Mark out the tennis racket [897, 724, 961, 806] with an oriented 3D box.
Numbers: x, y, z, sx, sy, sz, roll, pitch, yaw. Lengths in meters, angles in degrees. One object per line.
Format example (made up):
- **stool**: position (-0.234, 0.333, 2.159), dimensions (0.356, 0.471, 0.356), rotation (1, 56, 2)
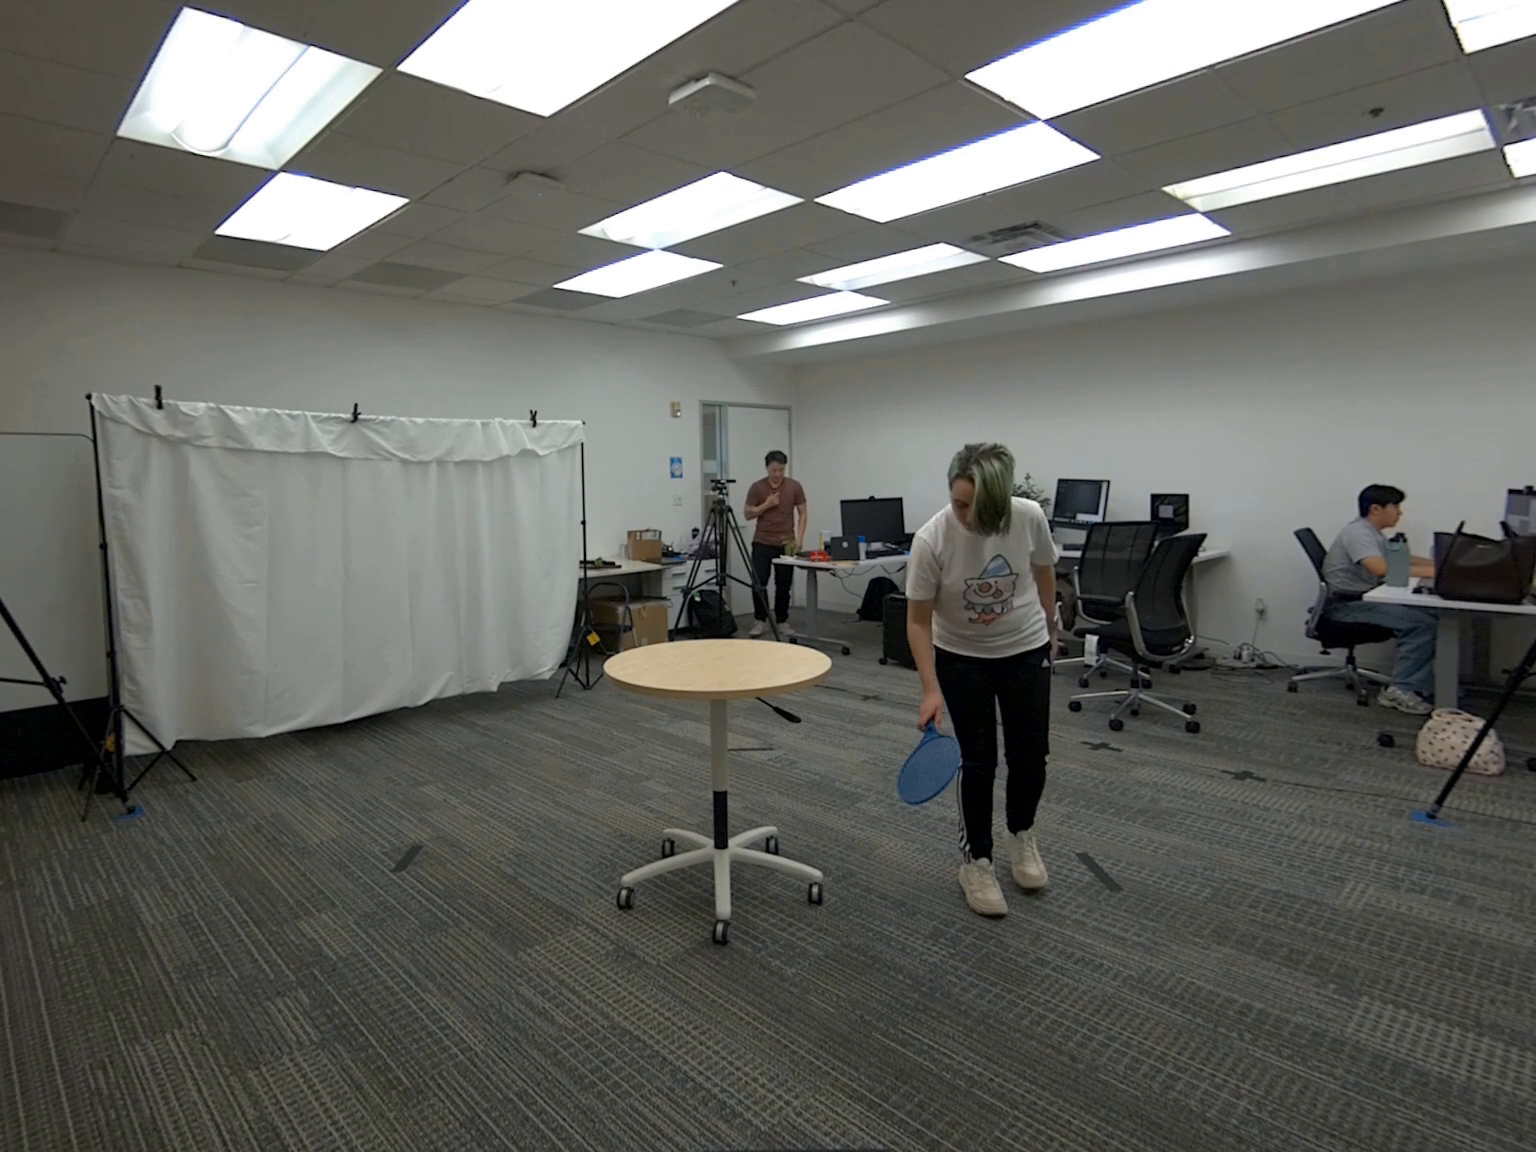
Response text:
- **tennis racket**: position (0.468, 0.508, 2.464), dimensions (0.215, 0.031, 0.436), rotation (-35, 12, 22)
